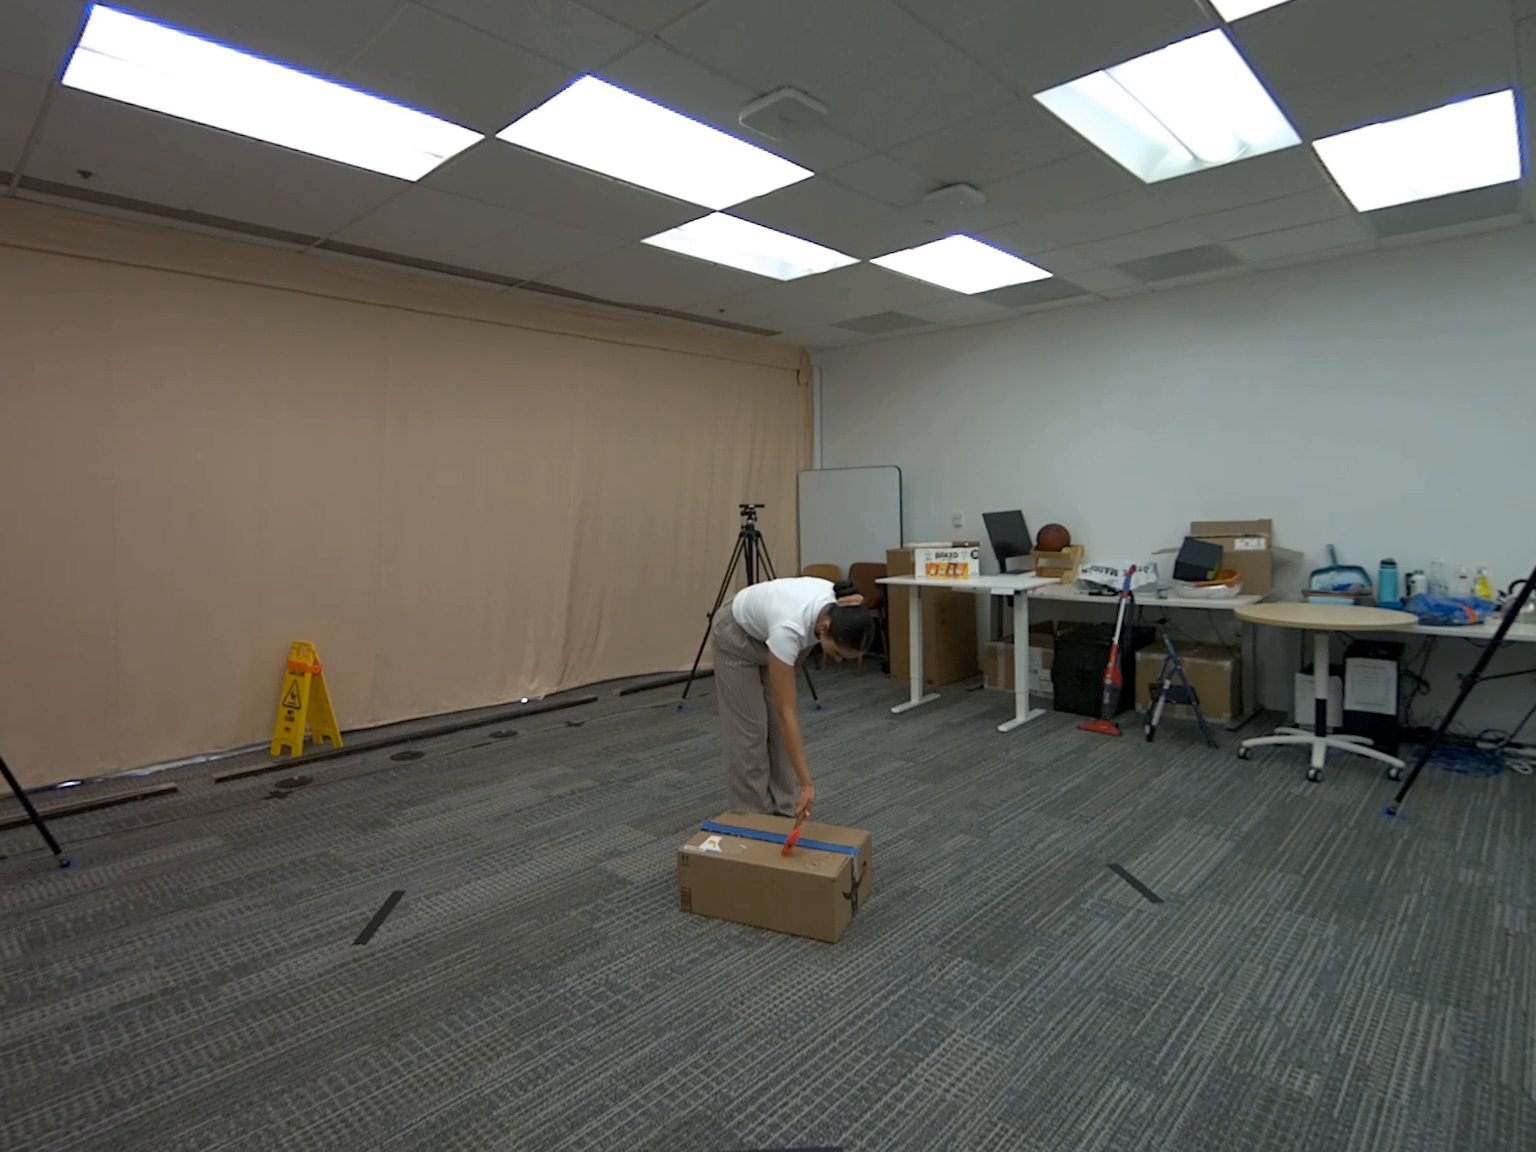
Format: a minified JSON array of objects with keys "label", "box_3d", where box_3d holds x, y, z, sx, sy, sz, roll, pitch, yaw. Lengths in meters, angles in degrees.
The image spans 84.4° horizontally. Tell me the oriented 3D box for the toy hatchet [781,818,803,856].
[{"label":"toy hatchet","box_3d":[0.089,0.868,2.907,0.030,0.131,0.267,28,9,7]}]
